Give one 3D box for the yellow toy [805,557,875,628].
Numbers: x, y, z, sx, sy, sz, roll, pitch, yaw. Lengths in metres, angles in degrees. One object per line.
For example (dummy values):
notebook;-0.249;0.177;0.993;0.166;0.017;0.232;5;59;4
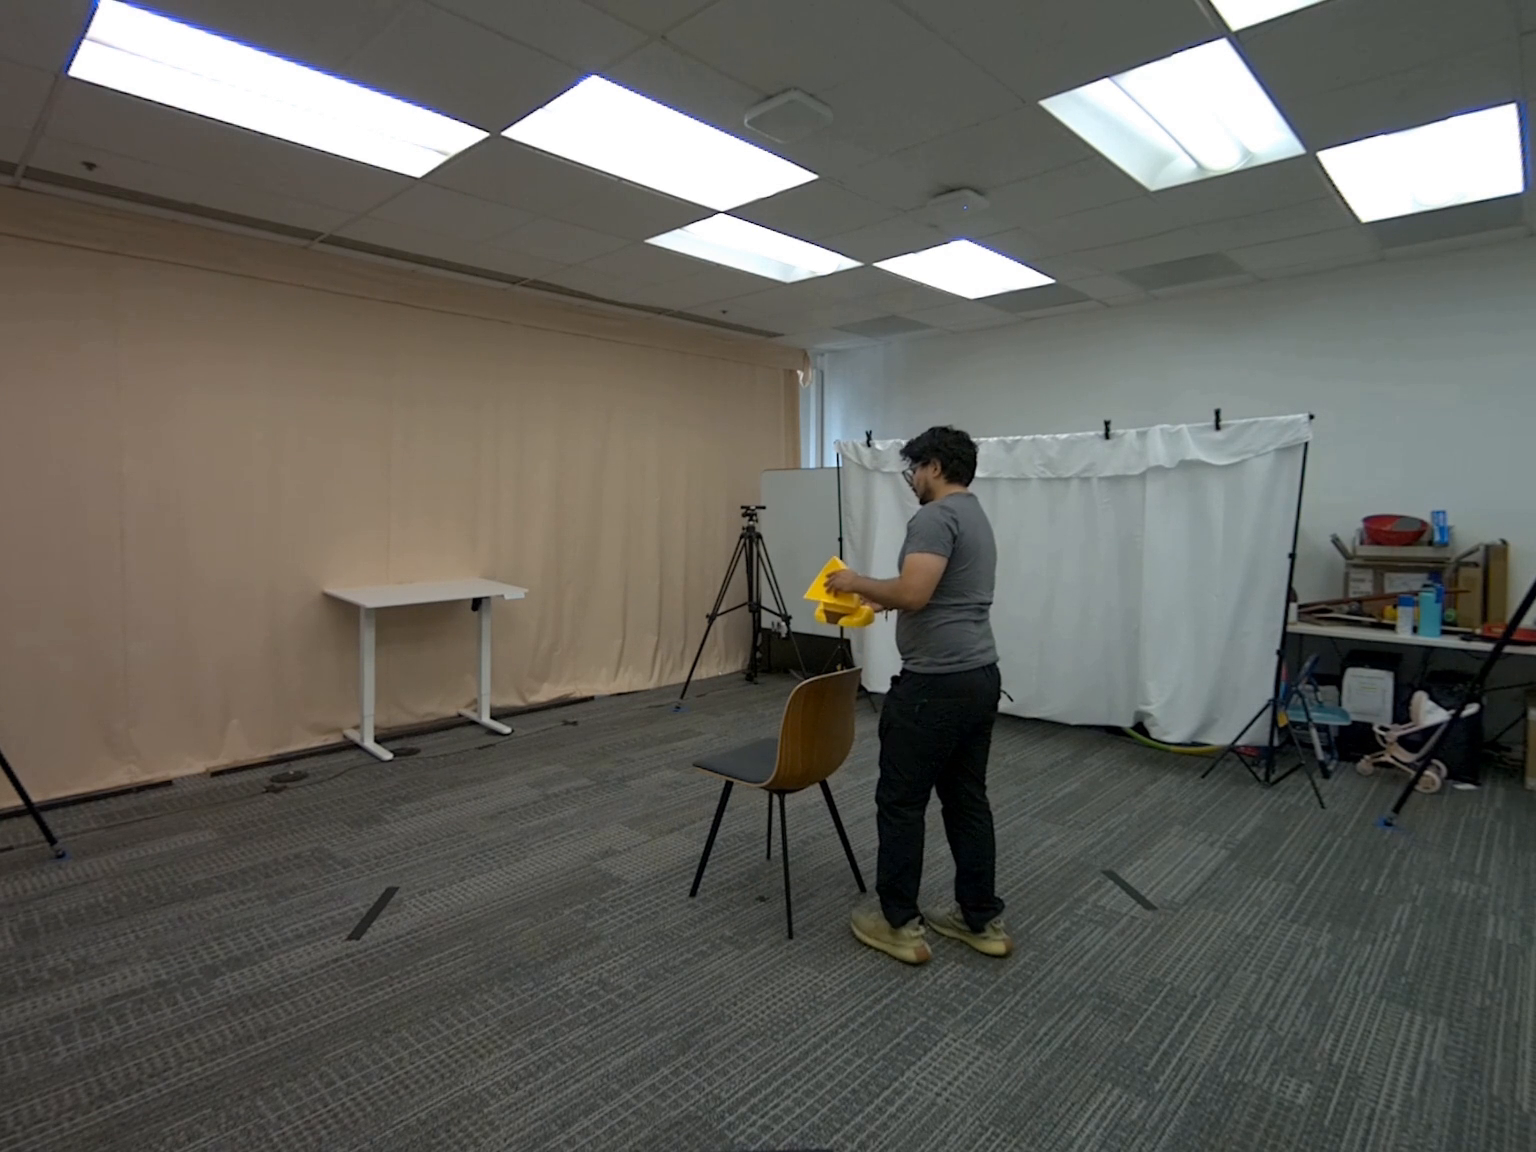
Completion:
yellow toy;0.268;0.038;2.859;0.212;0.229;0.188;9;15;39
